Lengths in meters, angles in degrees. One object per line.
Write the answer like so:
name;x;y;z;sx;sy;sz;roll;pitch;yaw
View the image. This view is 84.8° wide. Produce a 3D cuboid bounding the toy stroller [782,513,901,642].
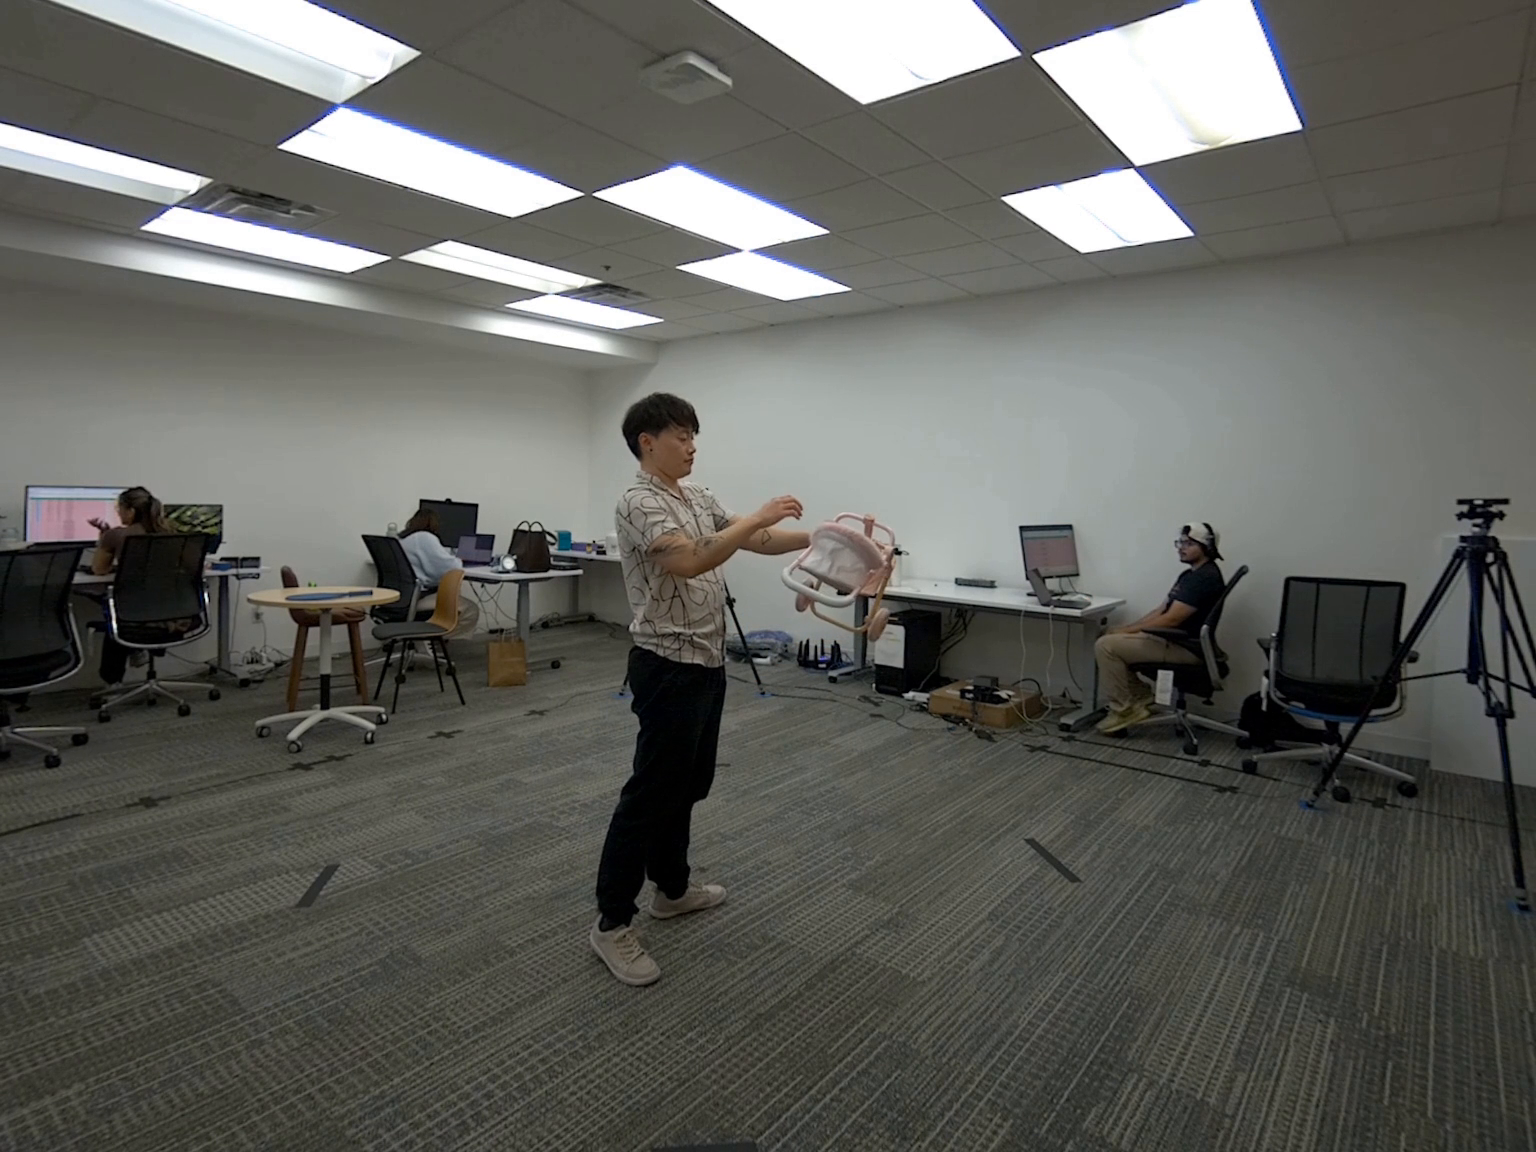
toy stroller;0.229;-0.028;2.499;0.290;0.342;0.518;26;-8;20
